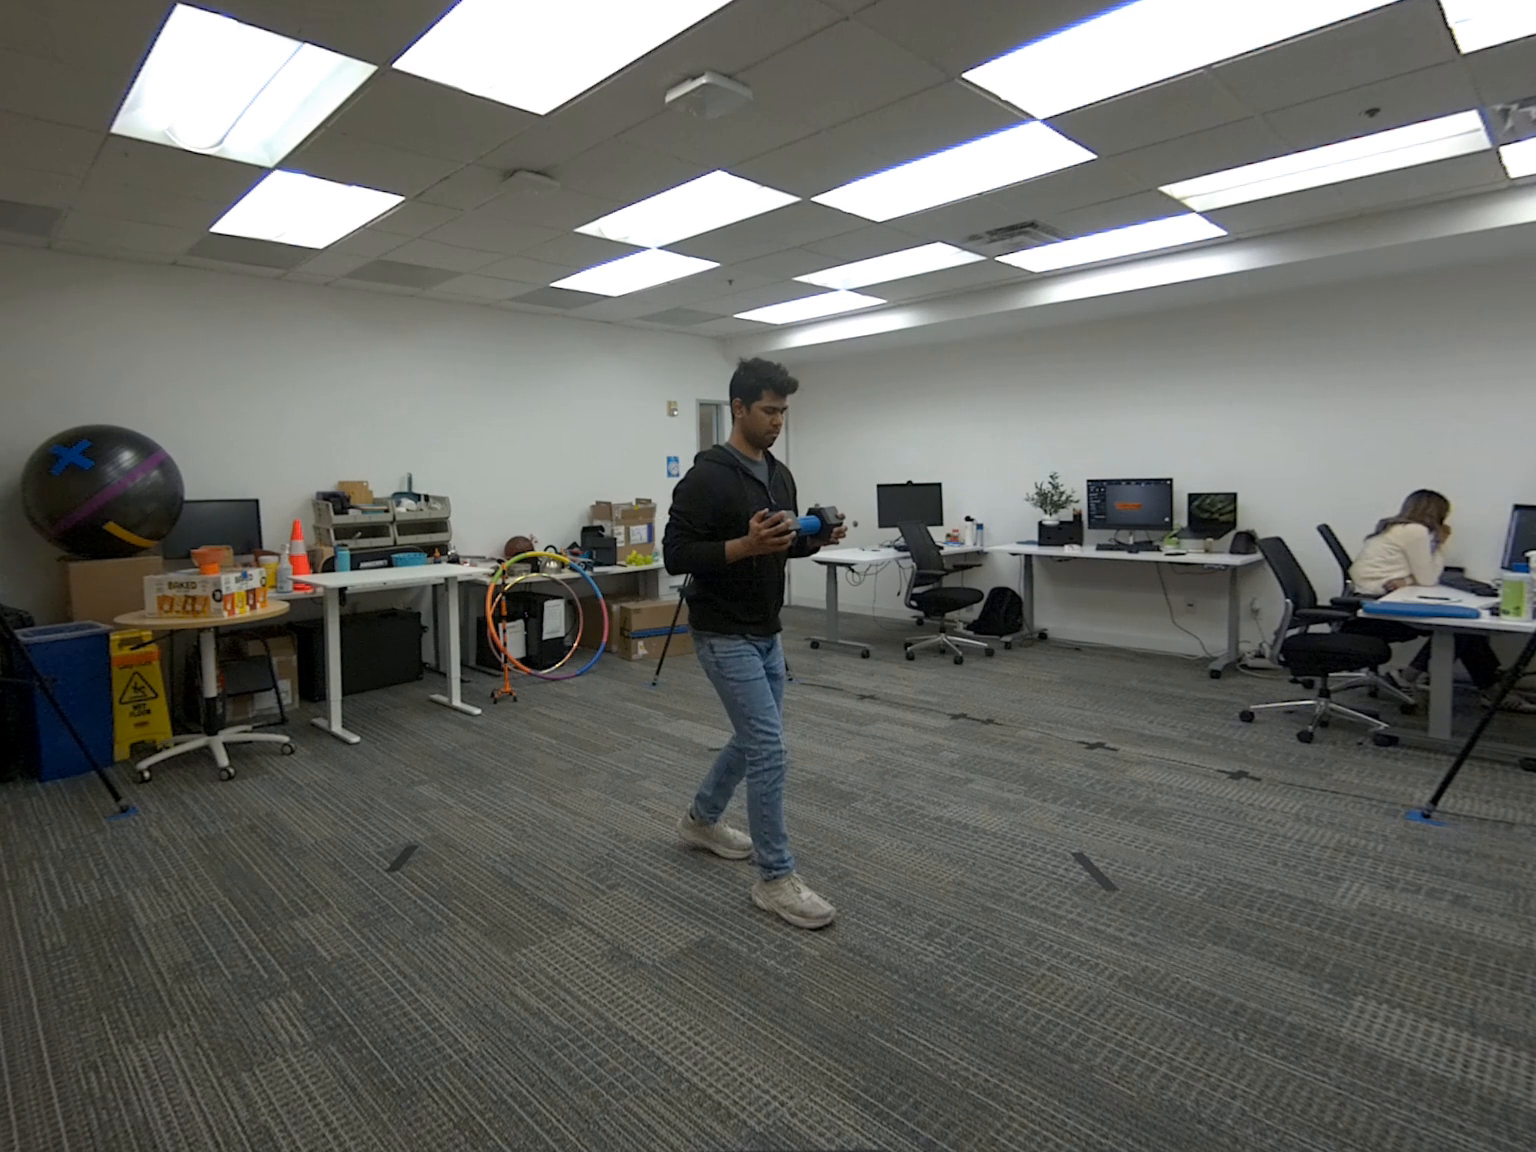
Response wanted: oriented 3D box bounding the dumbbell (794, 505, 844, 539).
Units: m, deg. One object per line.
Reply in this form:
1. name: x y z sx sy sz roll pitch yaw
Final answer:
1. dumbbell: 0.085 -0.152 2.717 0.286 0.121 0.113 -11 39 -44
